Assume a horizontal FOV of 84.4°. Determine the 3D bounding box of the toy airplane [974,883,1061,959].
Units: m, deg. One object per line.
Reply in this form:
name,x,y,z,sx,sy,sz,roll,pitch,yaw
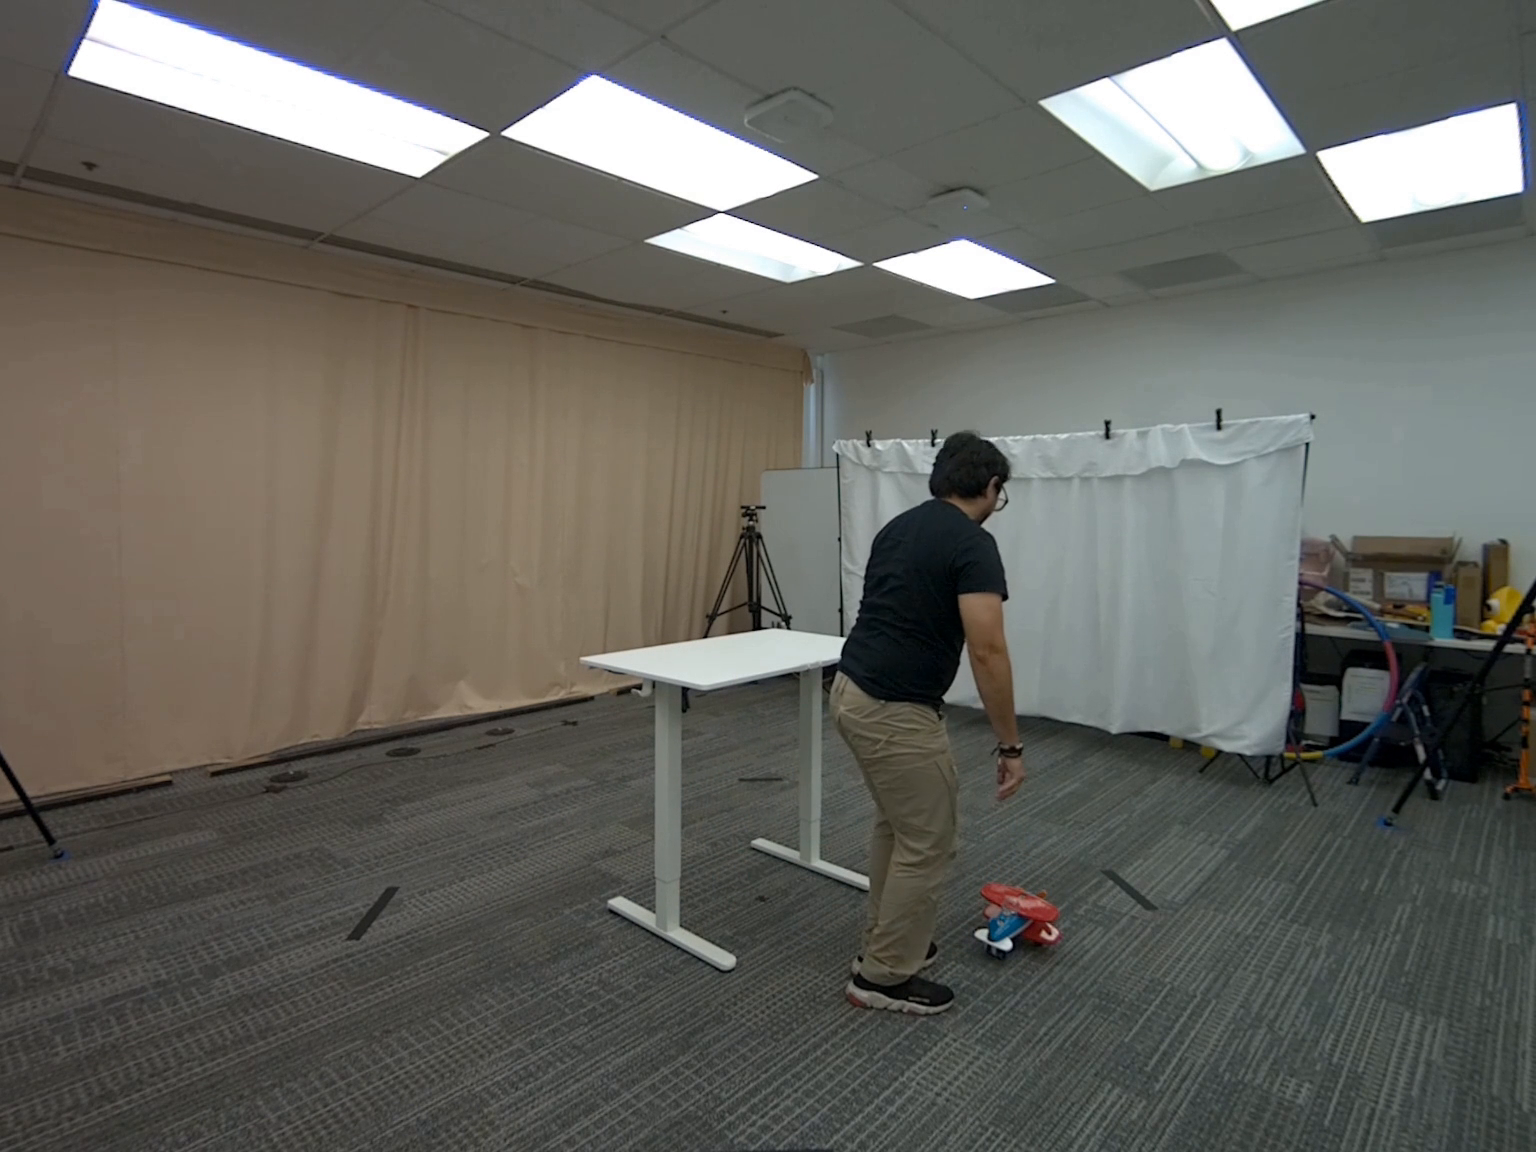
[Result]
toy airplane,0.793,1.099,2.632,0.257,0.156,0.254,1,3,21
